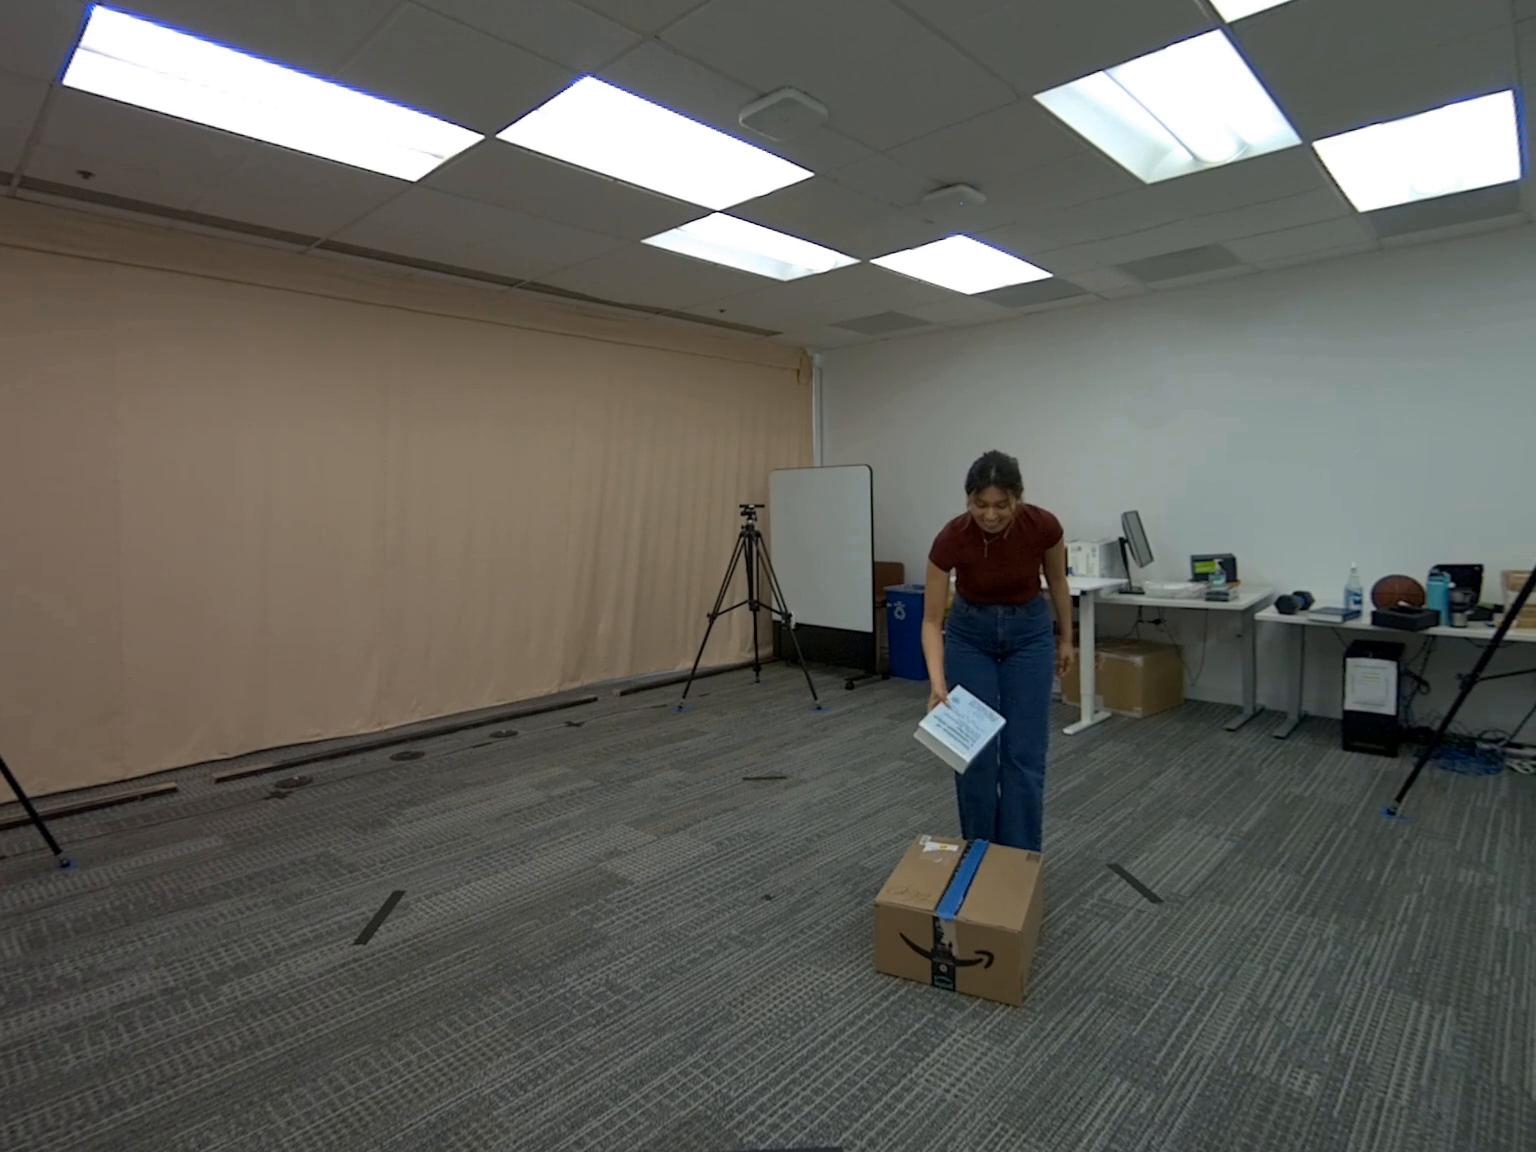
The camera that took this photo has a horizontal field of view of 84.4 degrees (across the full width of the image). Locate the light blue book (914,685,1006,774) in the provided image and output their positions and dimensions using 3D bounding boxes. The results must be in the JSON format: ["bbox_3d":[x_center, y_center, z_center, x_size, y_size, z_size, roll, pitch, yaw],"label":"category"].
[{"bbox_3d":[0.626,0.489,2.708,0.197,0.058,0.256,36,43,24],"label":"light blue book"}]
